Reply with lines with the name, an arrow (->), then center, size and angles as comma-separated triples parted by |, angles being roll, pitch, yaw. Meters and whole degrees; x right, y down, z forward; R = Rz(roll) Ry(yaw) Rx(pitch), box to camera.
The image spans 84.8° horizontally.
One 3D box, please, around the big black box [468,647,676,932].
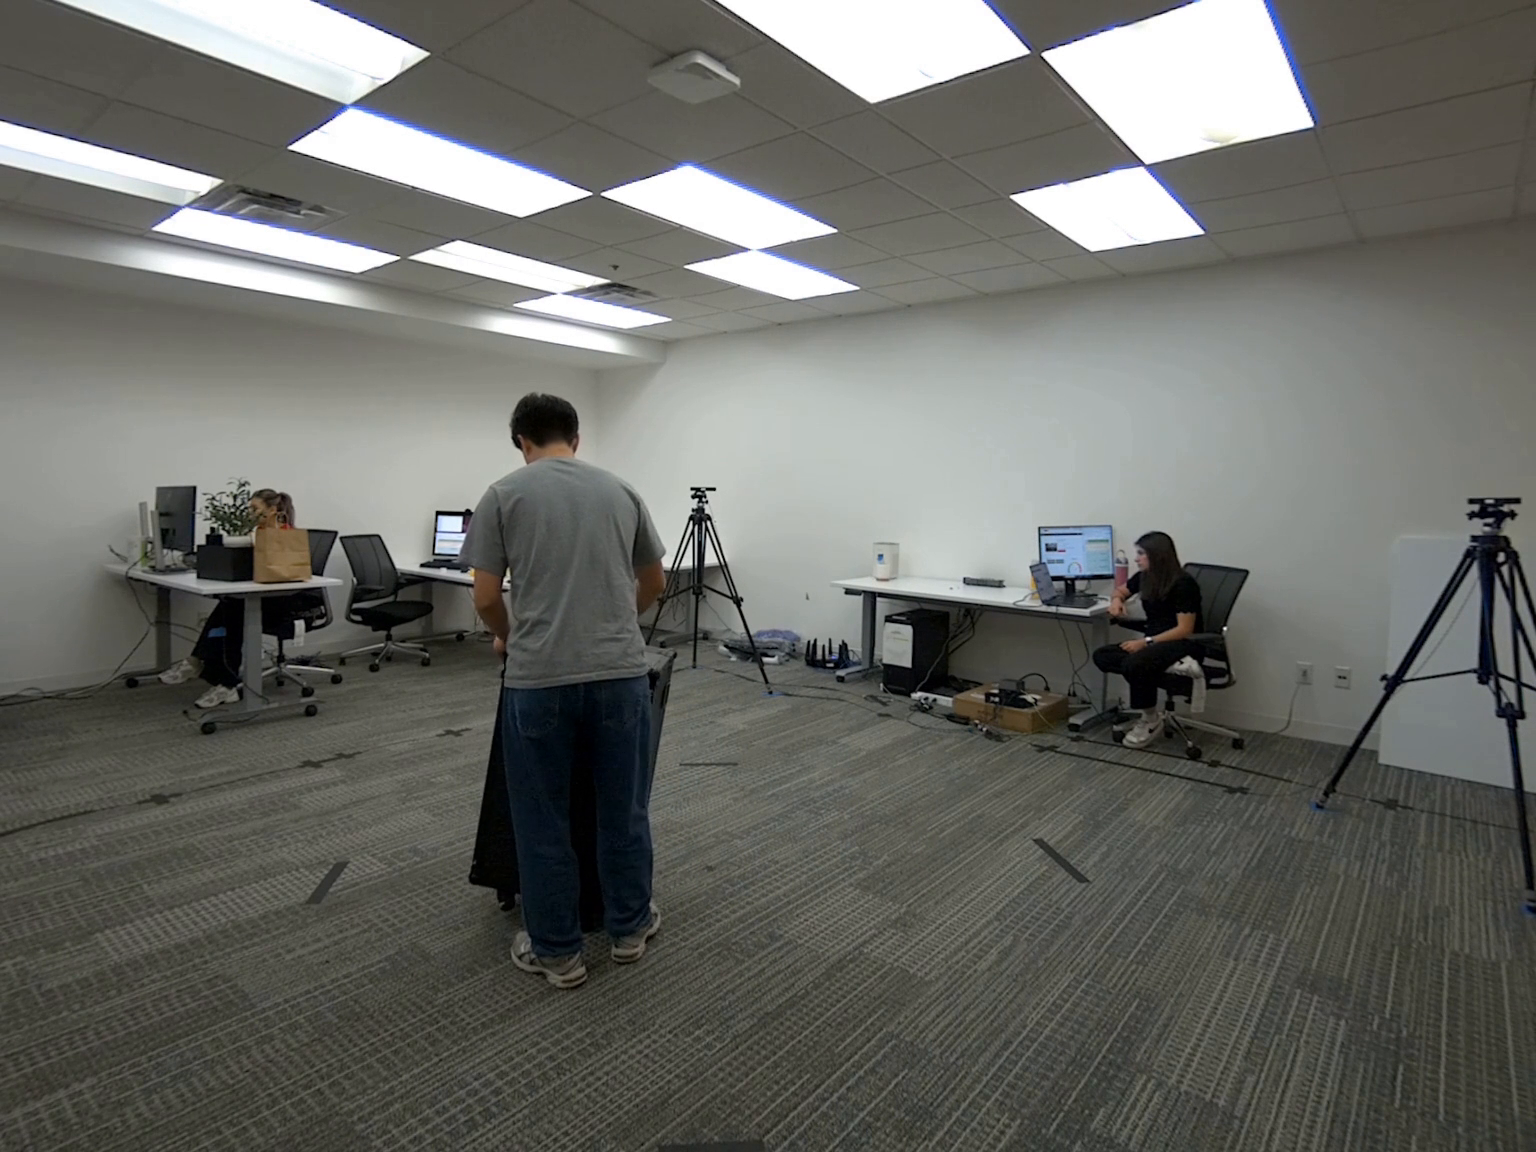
big black box -> -0.638, 0.644, 2.791 | 0.524, 0.859, 0.395 | 10, 3, 4
